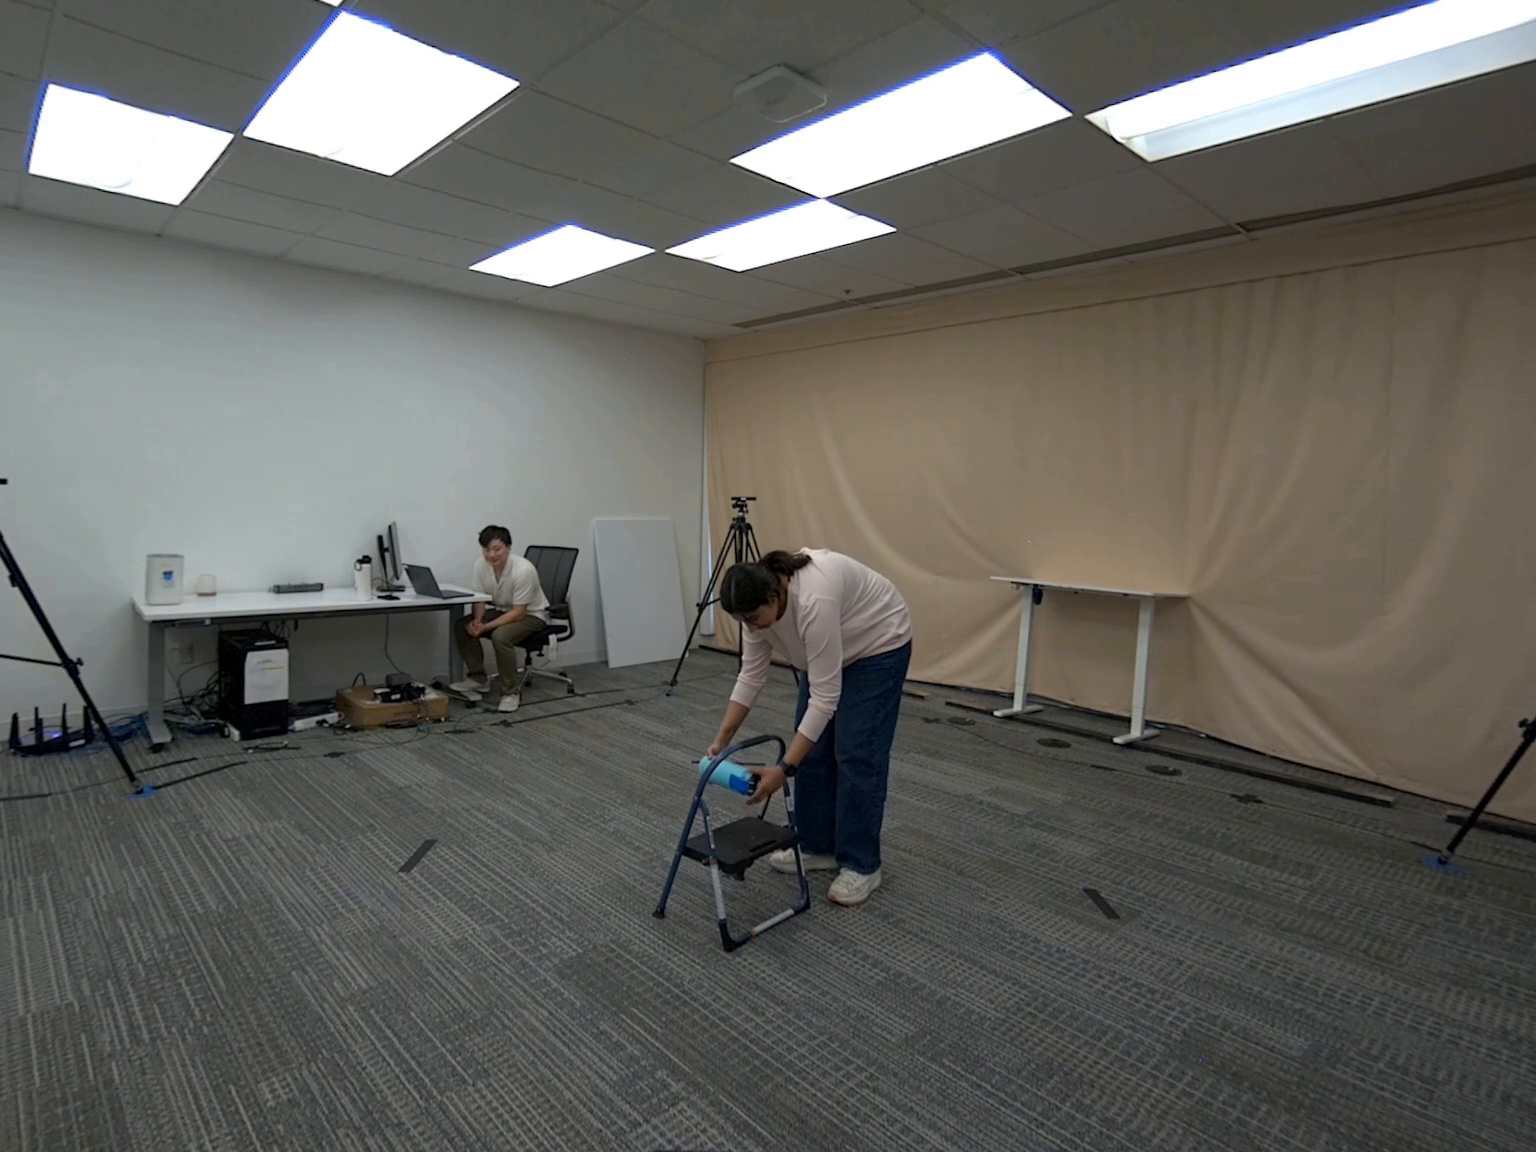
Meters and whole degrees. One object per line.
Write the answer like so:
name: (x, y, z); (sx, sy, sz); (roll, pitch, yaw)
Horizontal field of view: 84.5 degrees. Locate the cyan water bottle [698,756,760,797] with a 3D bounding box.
cyan water bottle: (-0.120, 0.689, 2.893); (0.090, 0.092, 0.290); (-2, 2, -41)
